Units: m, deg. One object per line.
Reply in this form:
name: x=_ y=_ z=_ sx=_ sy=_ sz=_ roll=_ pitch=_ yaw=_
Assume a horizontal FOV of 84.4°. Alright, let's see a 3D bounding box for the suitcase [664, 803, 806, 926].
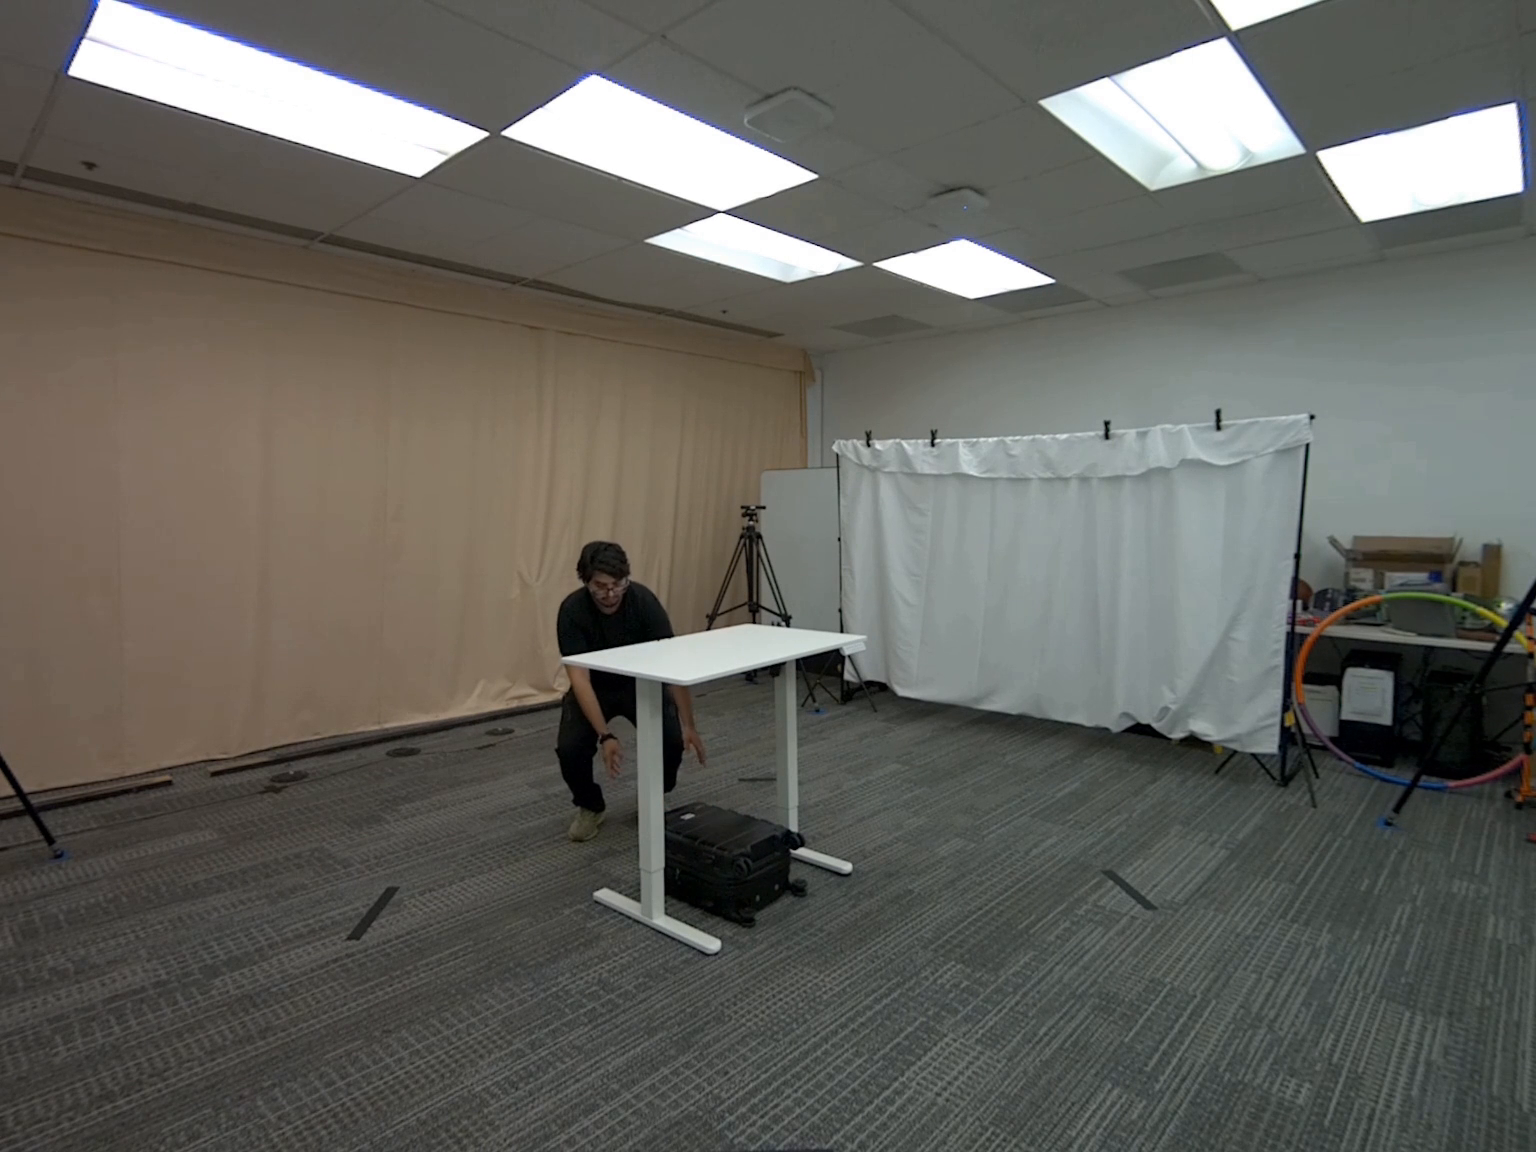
suitcase: x=-0.177 y=1.022 z=3.052 sx=0.567 sy=0.247 sz=0.364 roll=4 pitch=7 yaw=40
